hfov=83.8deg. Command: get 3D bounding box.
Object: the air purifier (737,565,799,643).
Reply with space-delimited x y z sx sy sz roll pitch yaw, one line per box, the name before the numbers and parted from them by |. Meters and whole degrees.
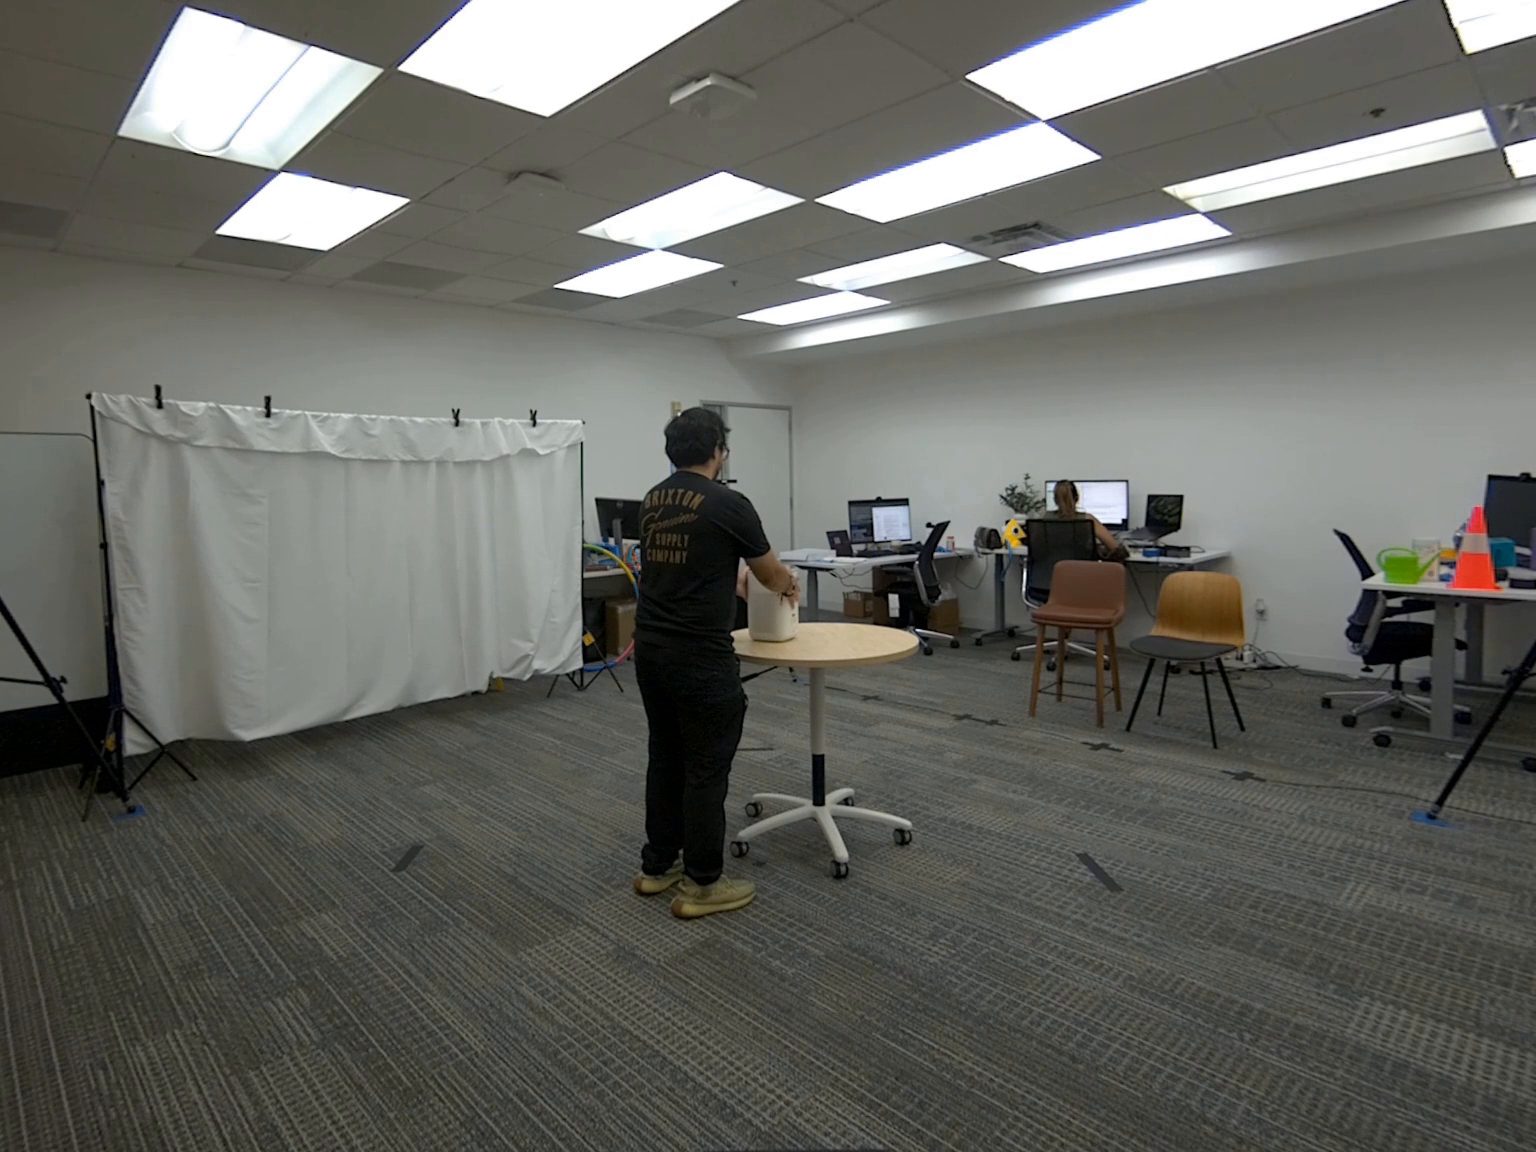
air purifier | 0.023 0.109 3.290 0.176 0.264 0.167 1 4 28
